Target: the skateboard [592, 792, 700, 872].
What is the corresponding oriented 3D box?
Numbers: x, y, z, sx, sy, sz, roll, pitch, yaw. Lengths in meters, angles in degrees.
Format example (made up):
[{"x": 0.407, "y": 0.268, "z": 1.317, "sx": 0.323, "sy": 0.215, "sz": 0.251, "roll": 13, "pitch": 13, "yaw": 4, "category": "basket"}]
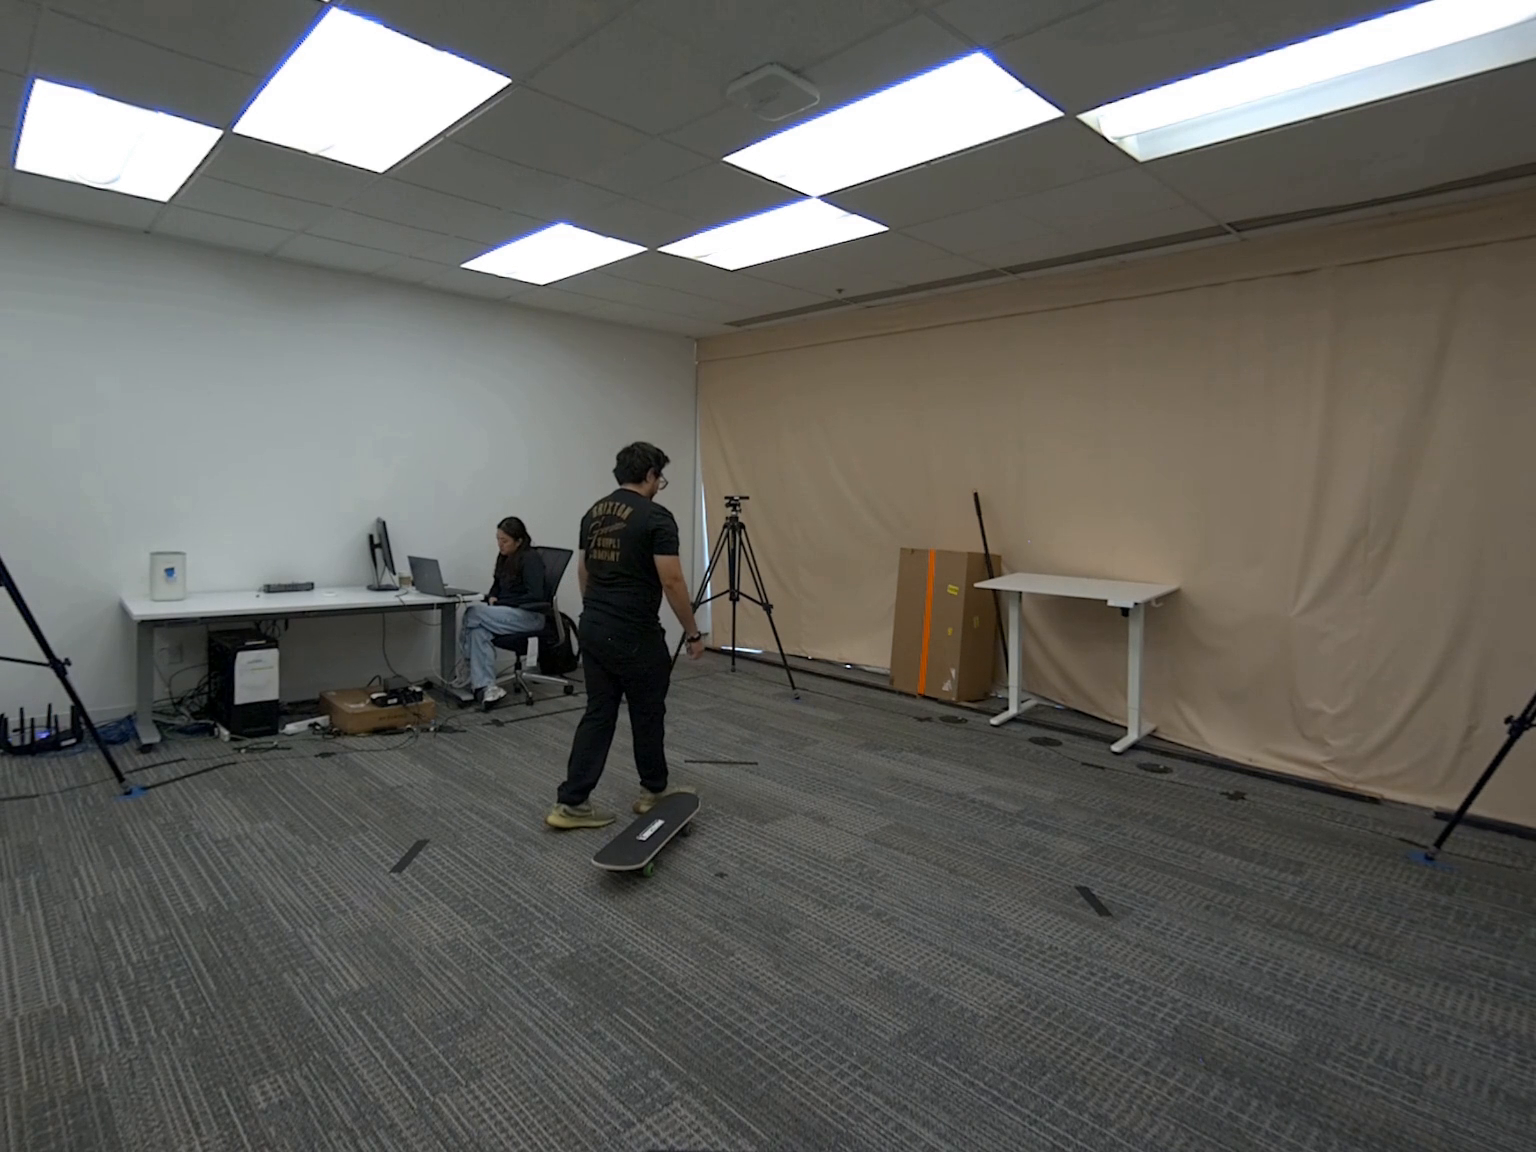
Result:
[{"x": -0.463, "y": 1.024, "z": 3.290, "sx": 0.196, "sy": 0.110, "sz": 0.777, "roll": 3, "pitch": 5, "yaw": 15, "category": "skateboard"}]
